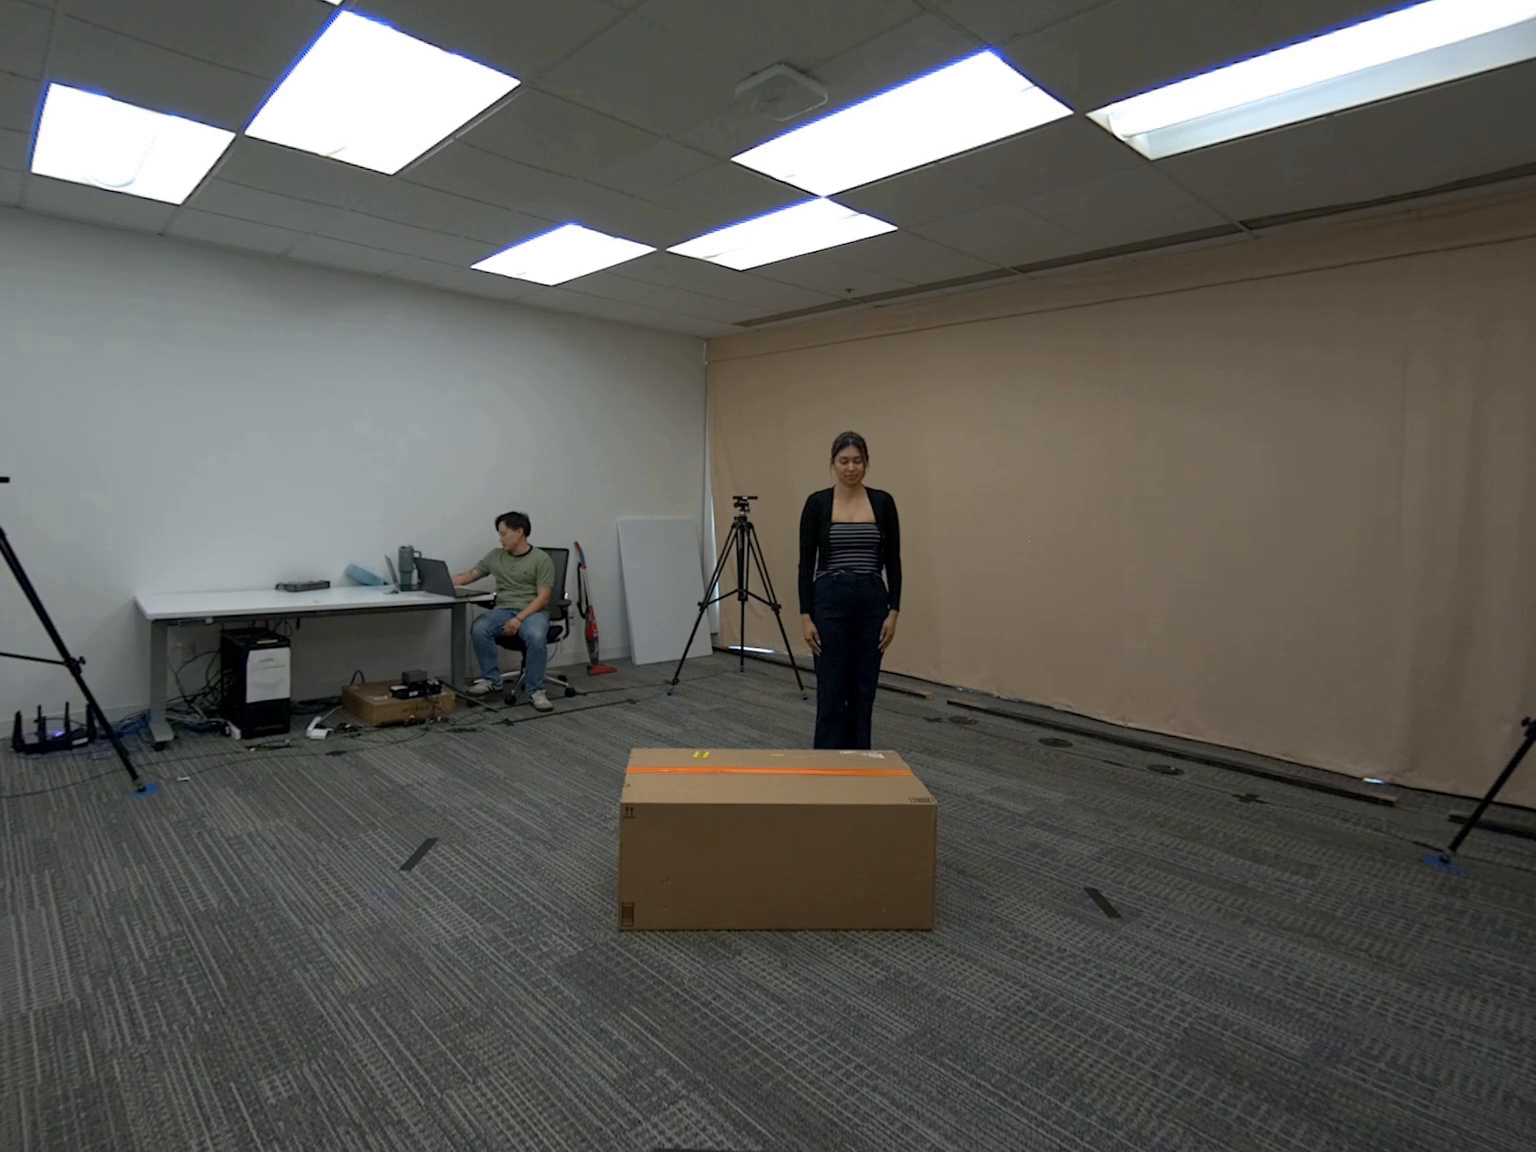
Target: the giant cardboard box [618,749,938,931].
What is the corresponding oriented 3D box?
[{"bbox_3d":[0.000,0.900,2.973,1.023,0.425,0.580,1,4,-4],"label":"giant cardboard box"}]
